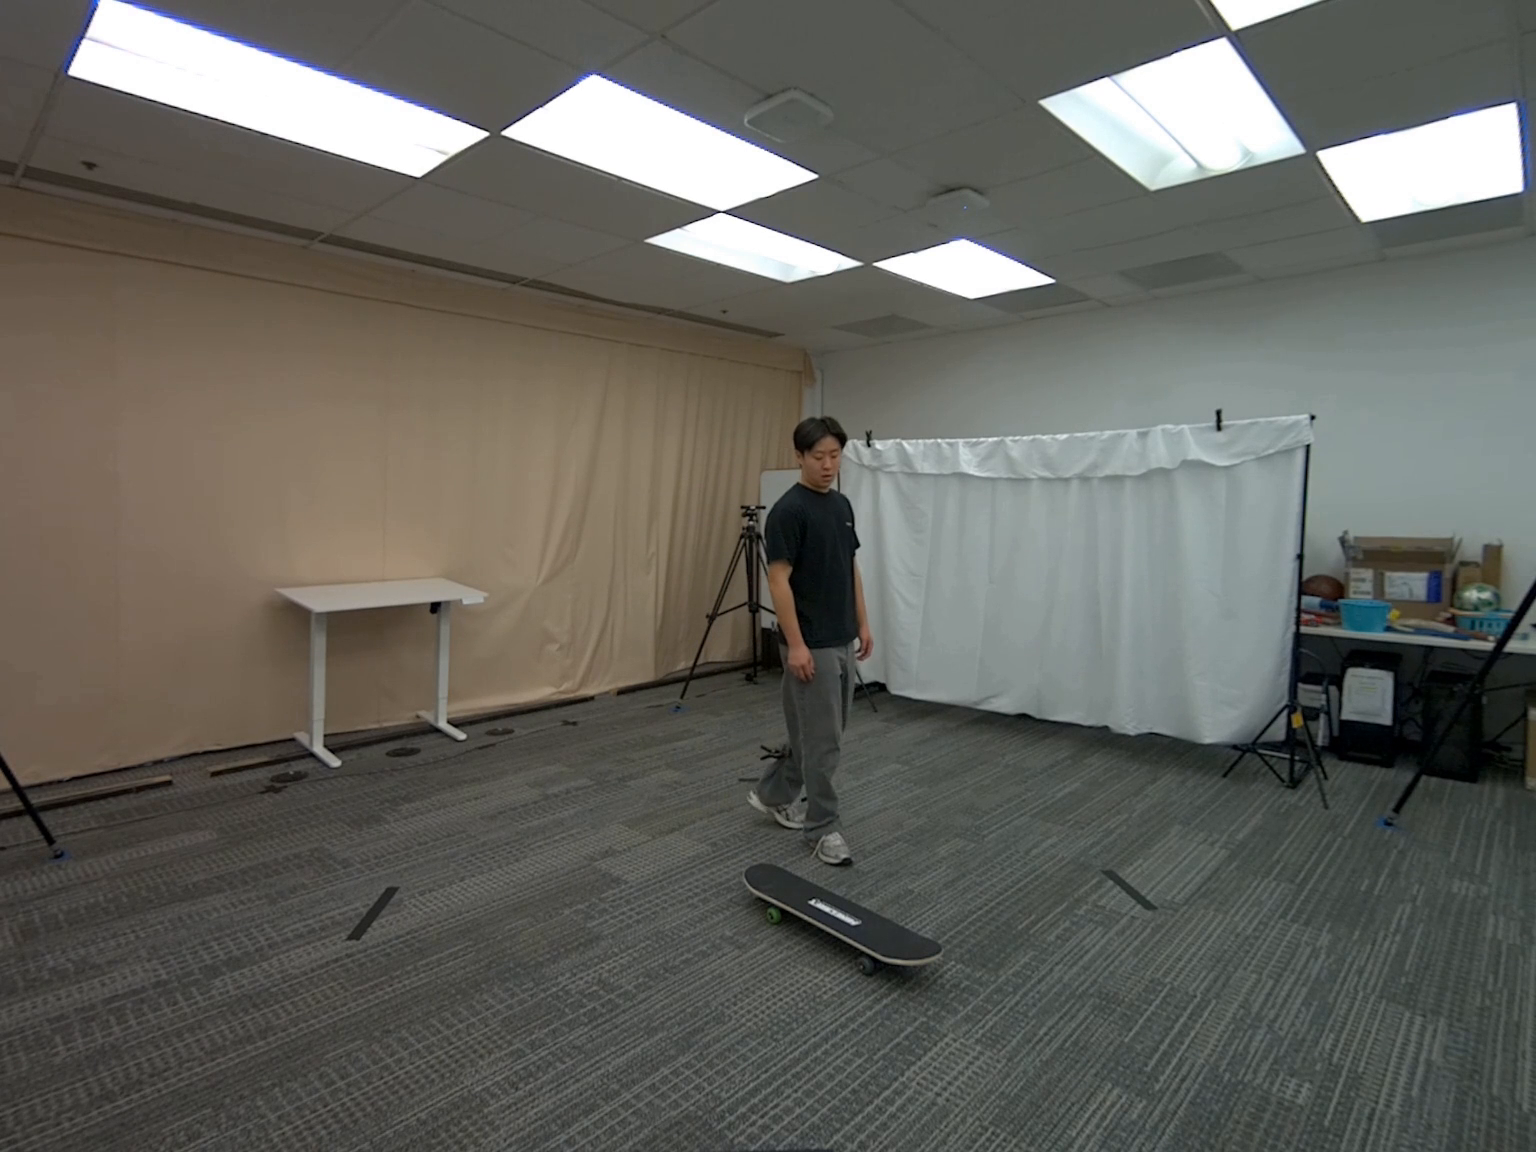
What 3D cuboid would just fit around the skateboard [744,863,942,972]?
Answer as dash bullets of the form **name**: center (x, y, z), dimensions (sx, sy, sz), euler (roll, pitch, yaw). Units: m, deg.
- **skateboard**: center (0.217, 1.105, 2.706), dimensions (0.187, 0.110, 0.812), euler (-4, 6, -41)
